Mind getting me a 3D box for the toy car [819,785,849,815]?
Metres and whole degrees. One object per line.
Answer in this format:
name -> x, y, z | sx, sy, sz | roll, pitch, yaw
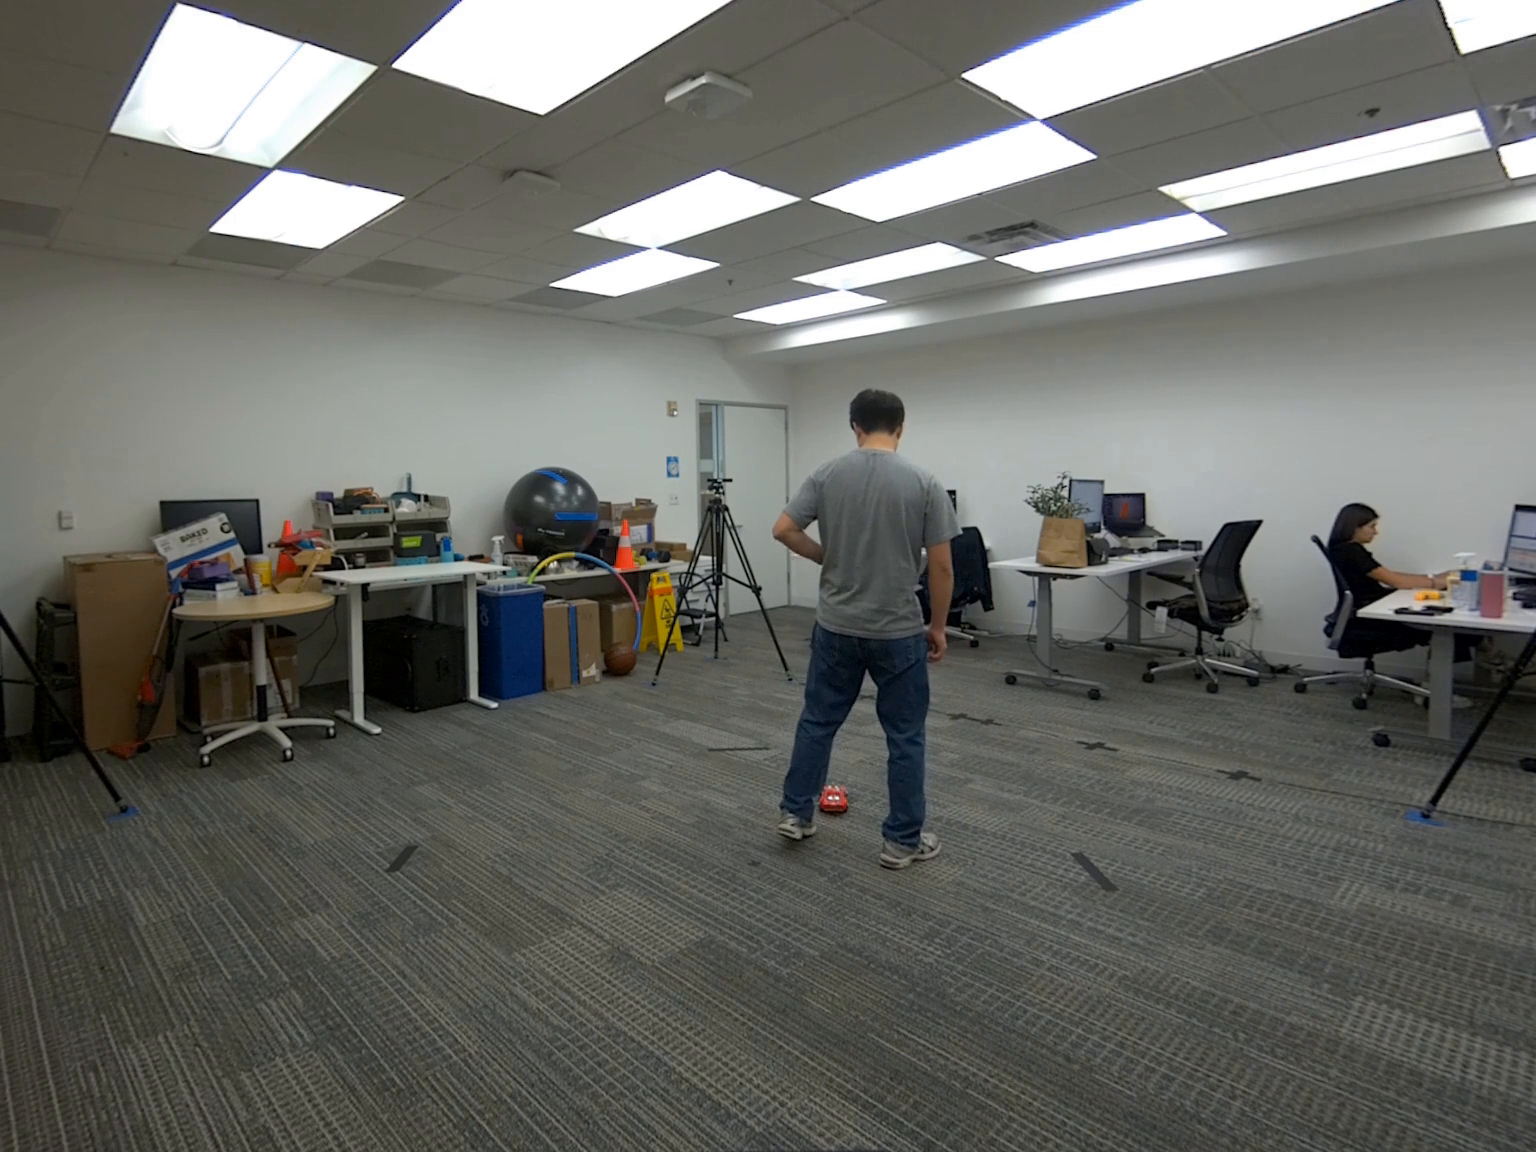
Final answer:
toy car -> 0.289, 0.952, 3.636 | 0.131, 0.084, 0.252 | 0, -5, 4
